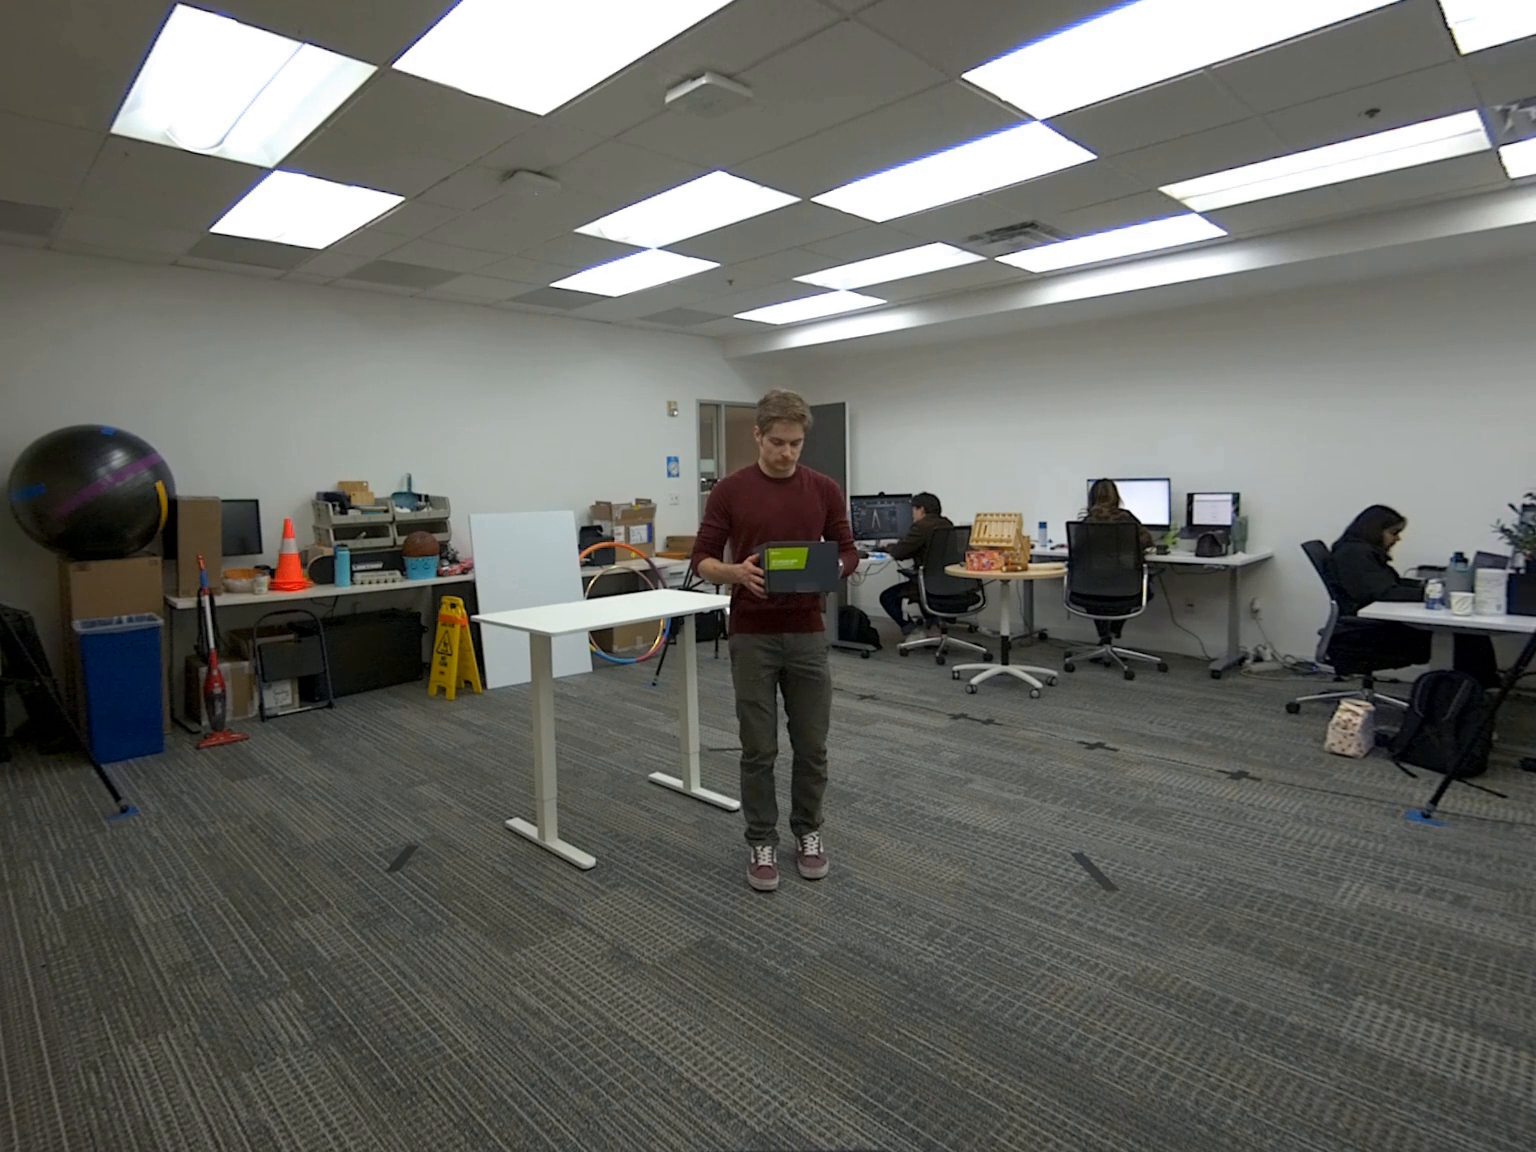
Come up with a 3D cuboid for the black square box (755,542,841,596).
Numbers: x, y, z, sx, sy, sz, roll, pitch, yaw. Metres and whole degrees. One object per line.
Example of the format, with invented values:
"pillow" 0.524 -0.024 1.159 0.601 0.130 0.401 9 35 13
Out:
"black square box" 0.088 -0.024 2.728 0.226 0.156 0.218 -1 -3 -9
